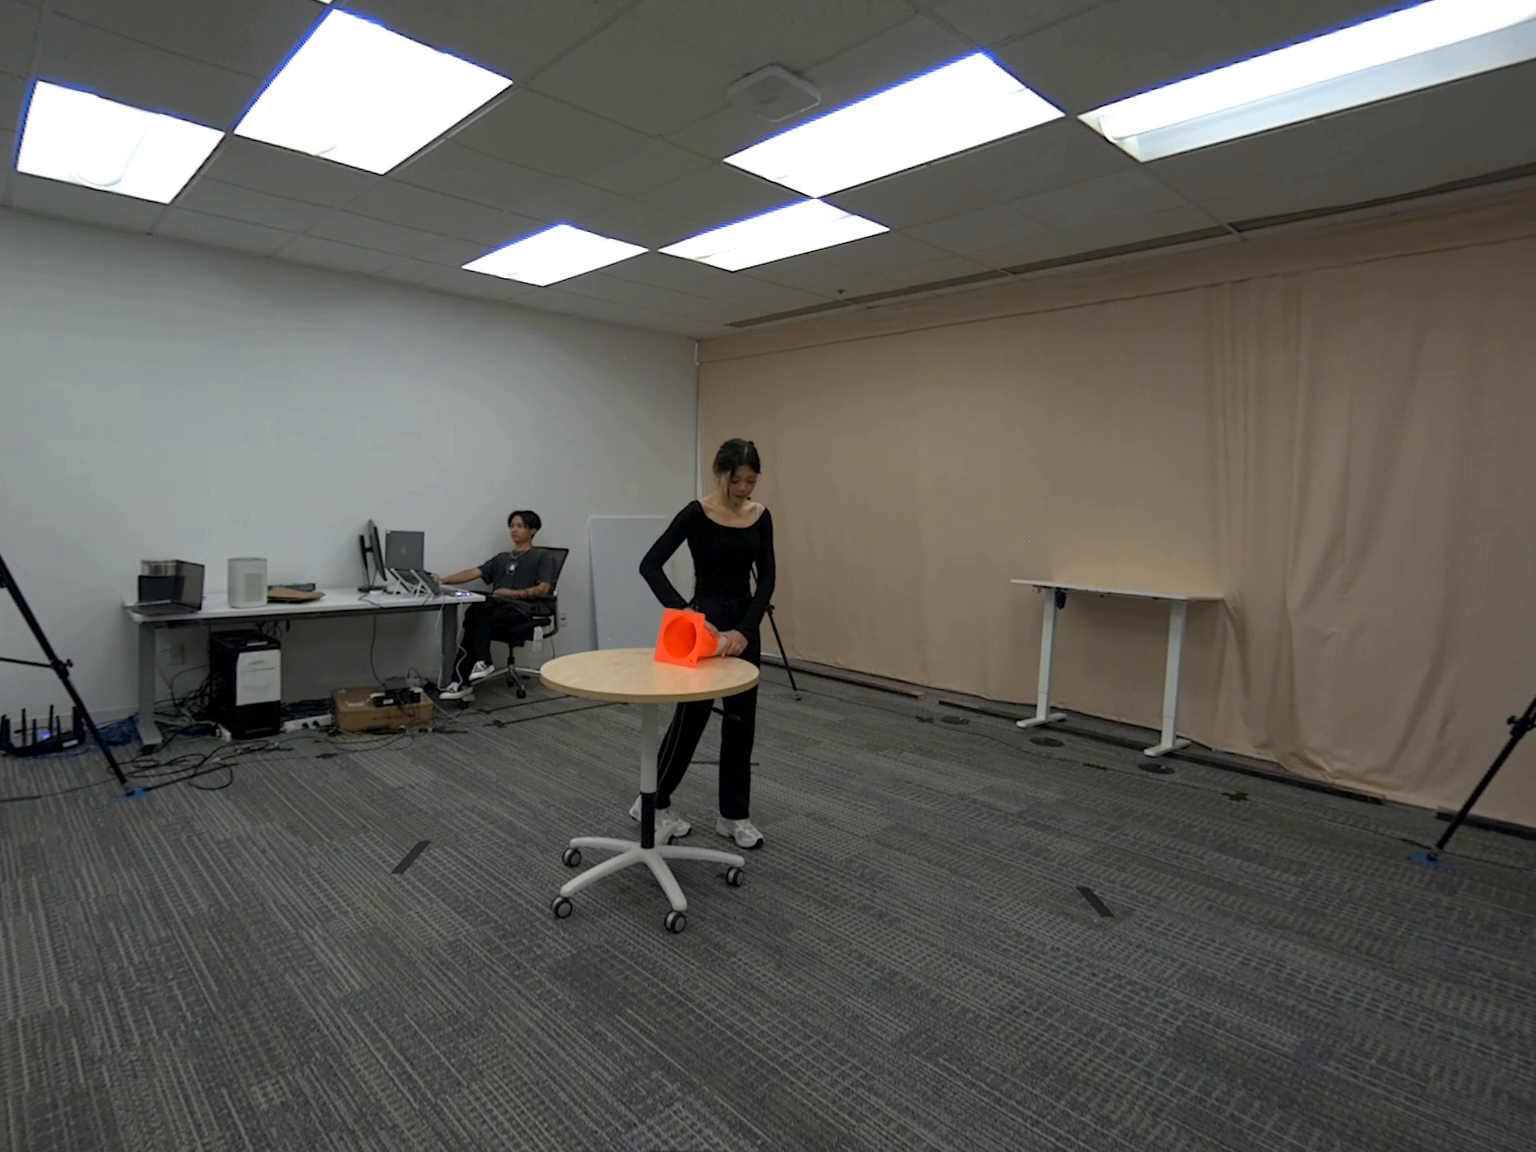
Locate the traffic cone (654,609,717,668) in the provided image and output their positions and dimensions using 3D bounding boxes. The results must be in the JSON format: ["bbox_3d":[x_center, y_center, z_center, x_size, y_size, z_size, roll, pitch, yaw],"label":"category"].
[{"bbox_3d":[-0.232,0.255,3.206,0.208,0.206,0.373,6,-6,34],"label":"traffic cone"}]
